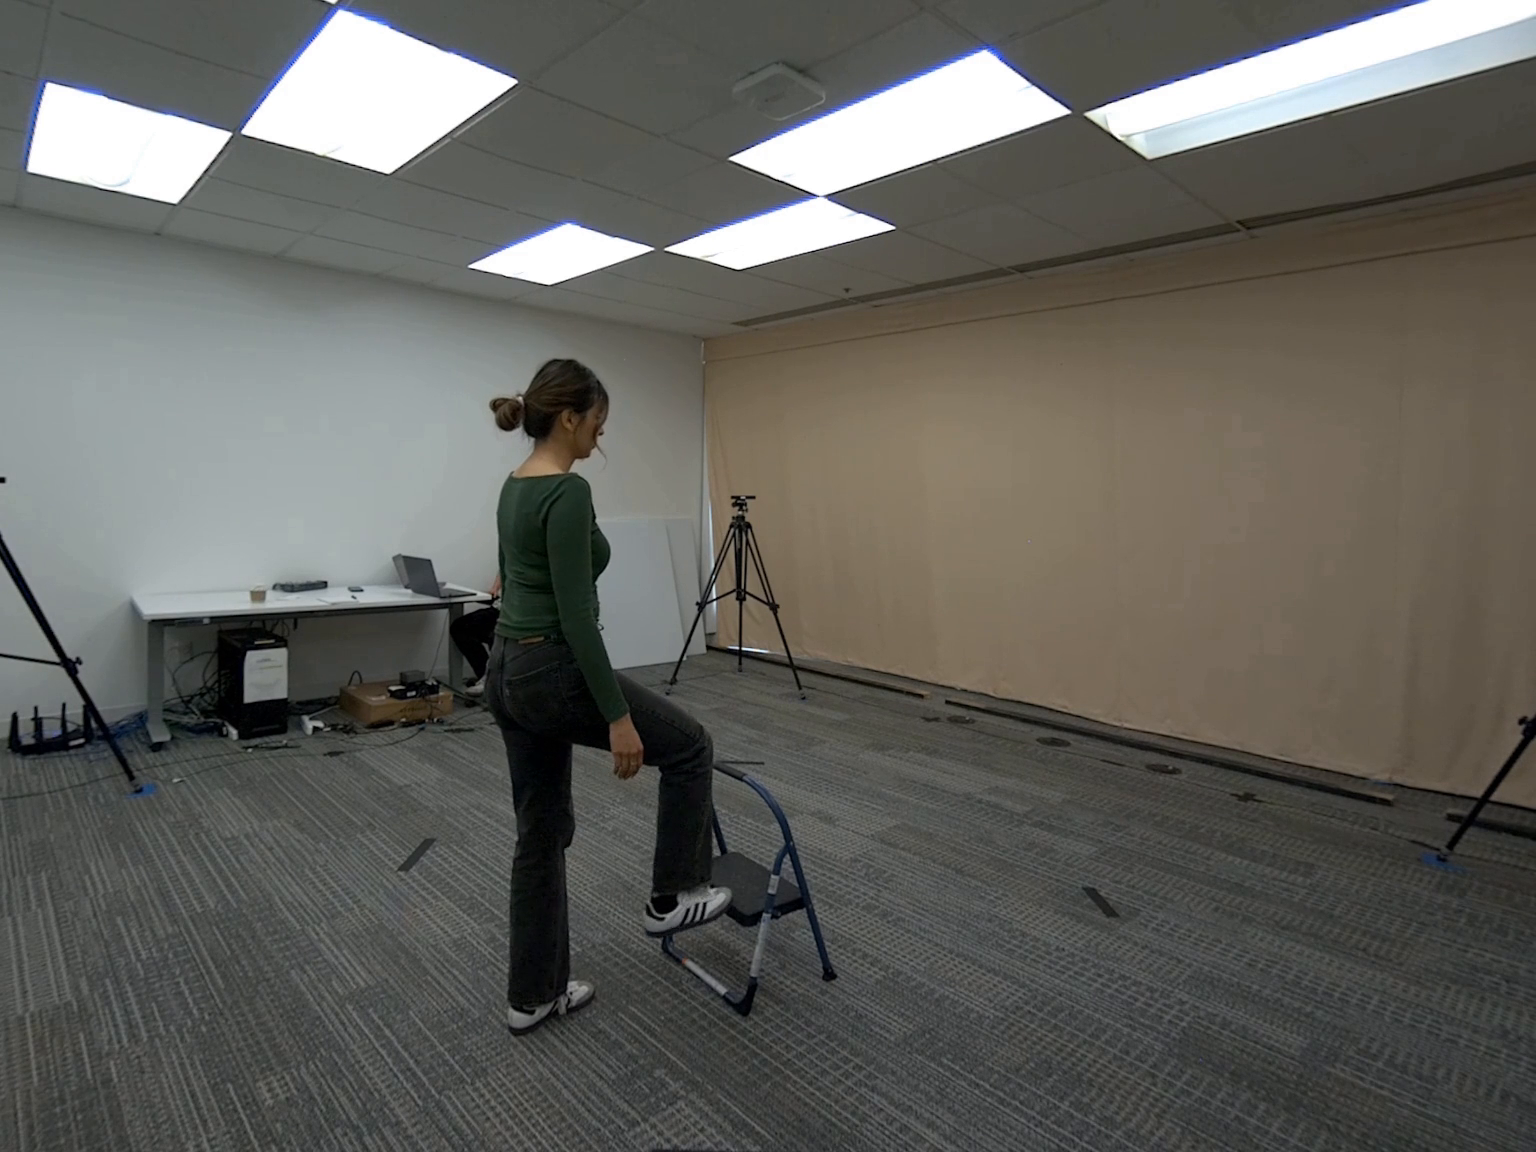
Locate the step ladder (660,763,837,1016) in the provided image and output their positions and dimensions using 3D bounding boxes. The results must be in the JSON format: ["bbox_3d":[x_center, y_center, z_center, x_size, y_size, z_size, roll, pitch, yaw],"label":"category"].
[{"bbox_3d":[-0.062,0.857,2.496,0.341,0.604,0.441,-2,5,-40],"label":"step ladder"}]
